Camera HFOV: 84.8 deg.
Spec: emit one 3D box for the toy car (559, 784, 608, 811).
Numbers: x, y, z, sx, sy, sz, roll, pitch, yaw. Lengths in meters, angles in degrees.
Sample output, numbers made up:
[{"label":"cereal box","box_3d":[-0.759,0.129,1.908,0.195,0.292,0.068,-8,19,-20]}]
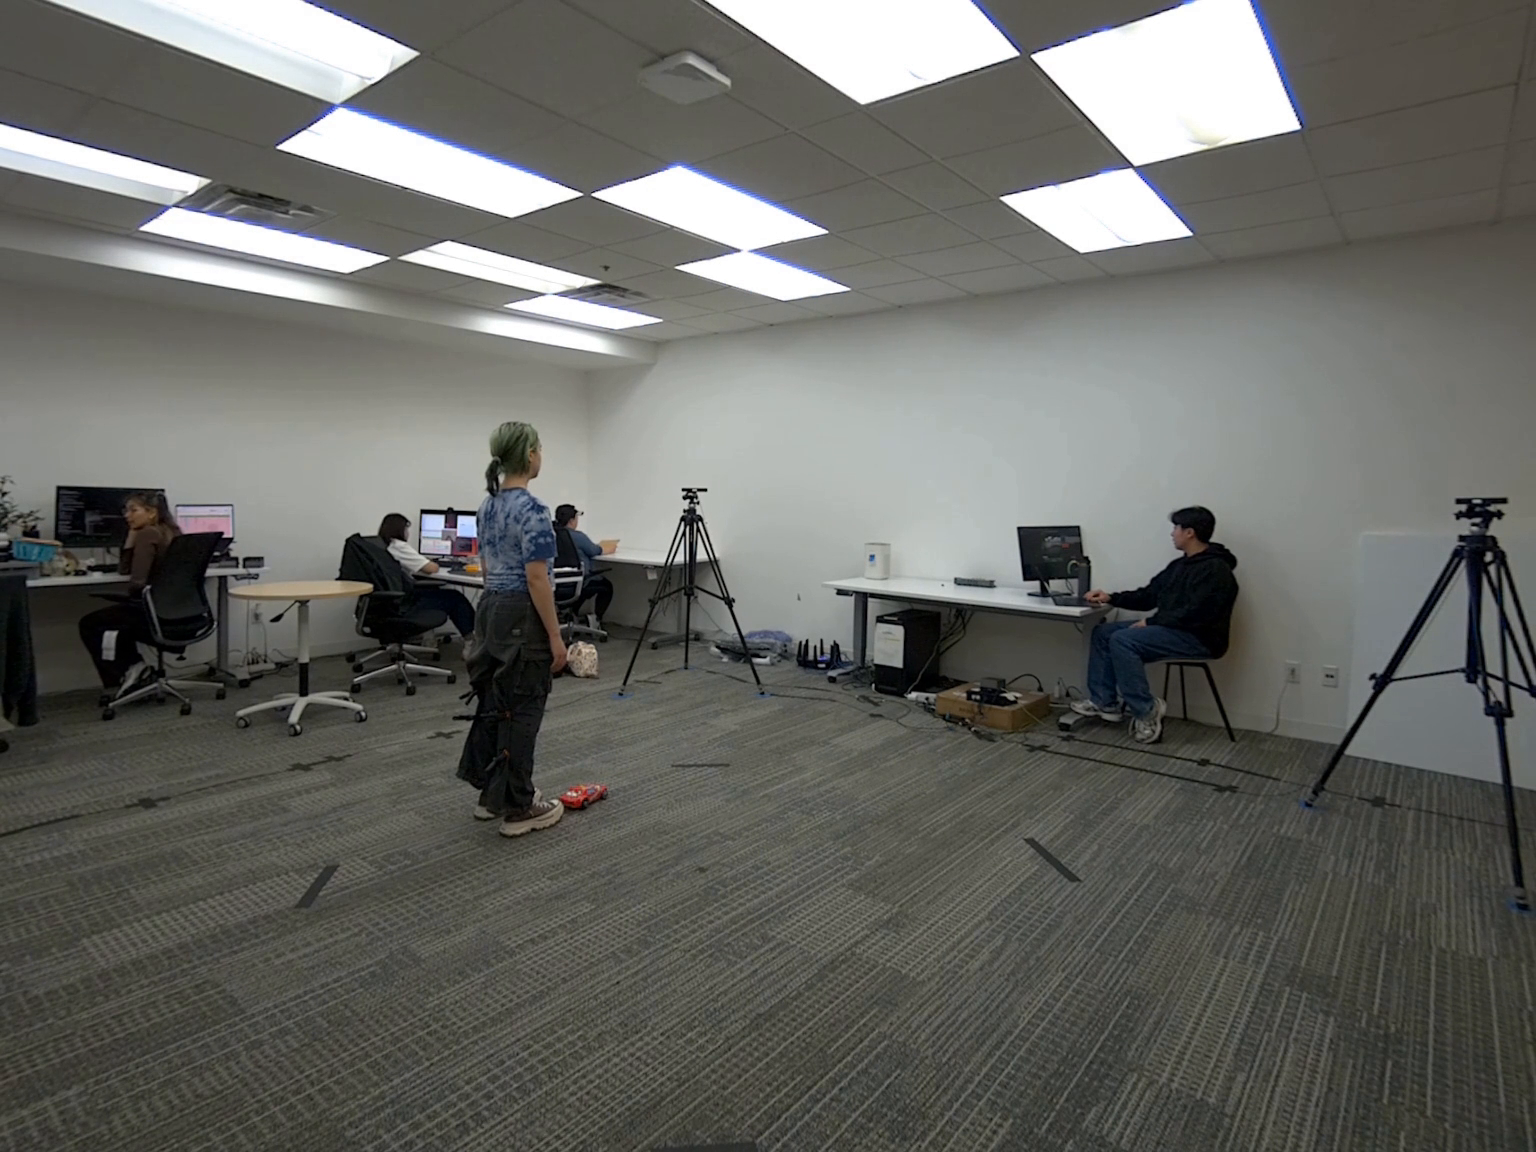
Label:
[{"label":"toy car","box_3d":[-0.831,0.971,3.745,0.134,0.083,0.246,4,-5,27]}]
